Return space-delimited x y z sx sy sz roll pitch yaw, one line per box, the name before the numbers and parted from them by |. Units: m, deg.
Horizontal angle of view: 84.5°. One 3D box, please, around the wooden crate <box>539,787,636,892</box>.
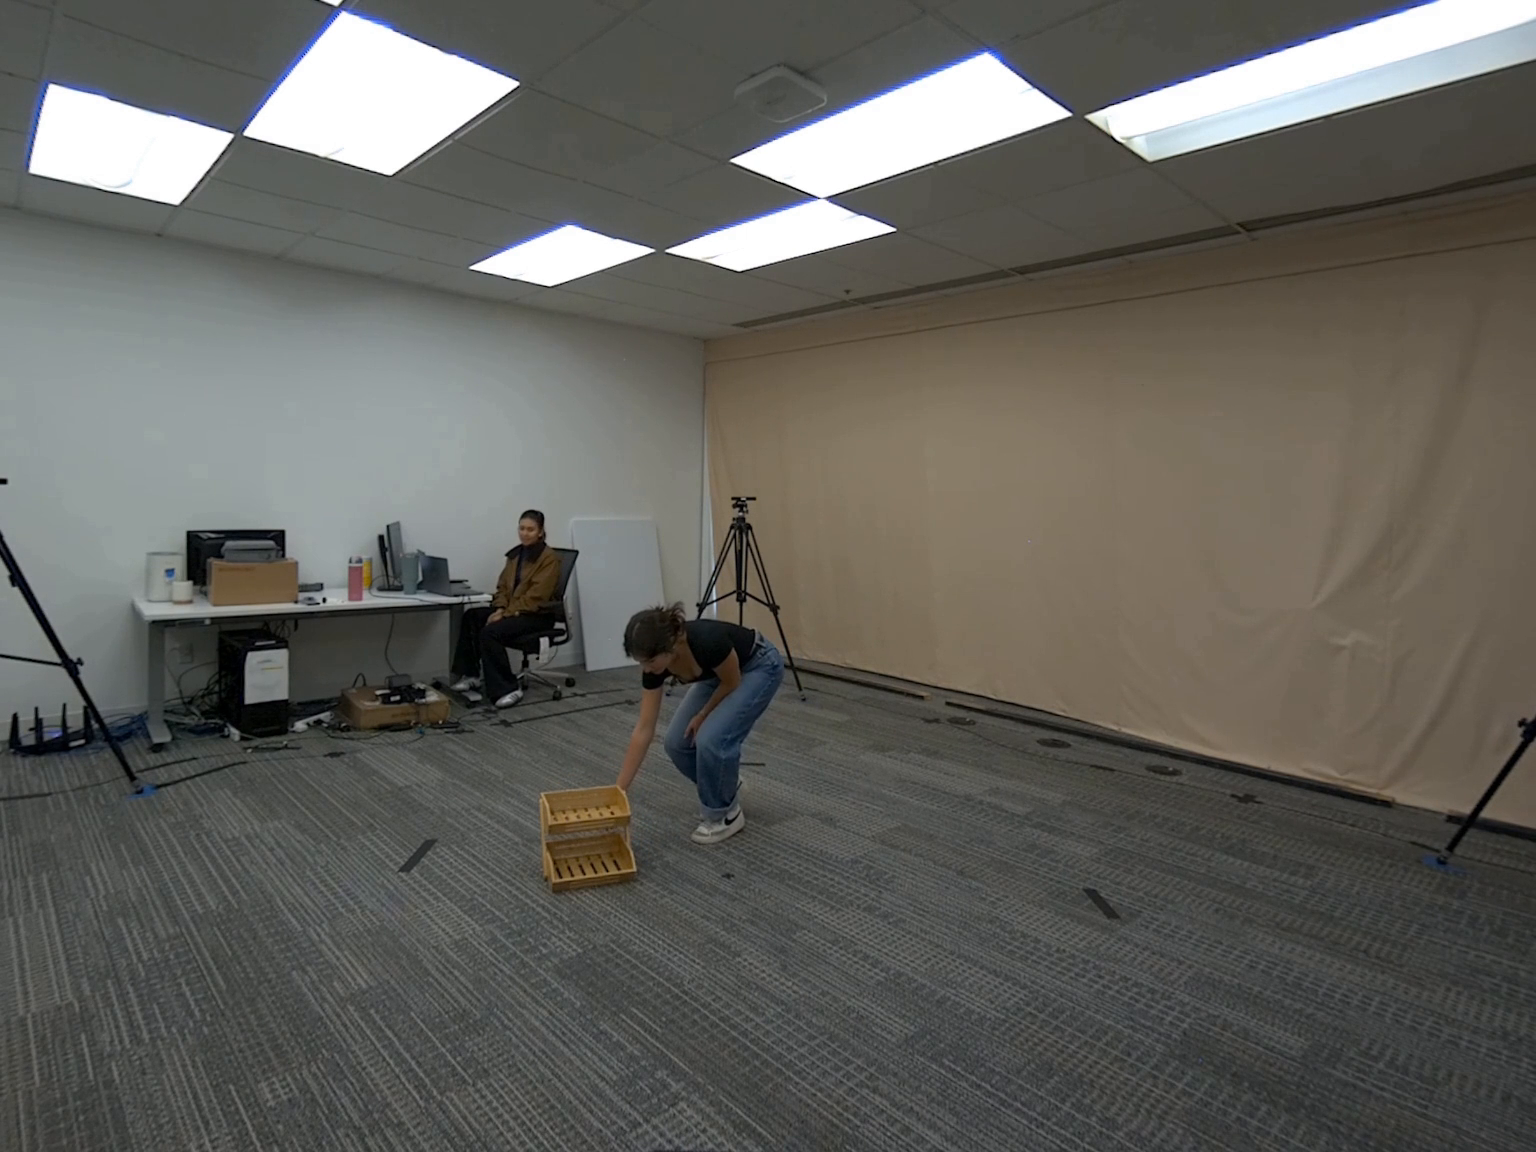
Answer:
wooden crate | -0.678 0.964 3.101 0.319 0.272 0.308 0 5 -23
